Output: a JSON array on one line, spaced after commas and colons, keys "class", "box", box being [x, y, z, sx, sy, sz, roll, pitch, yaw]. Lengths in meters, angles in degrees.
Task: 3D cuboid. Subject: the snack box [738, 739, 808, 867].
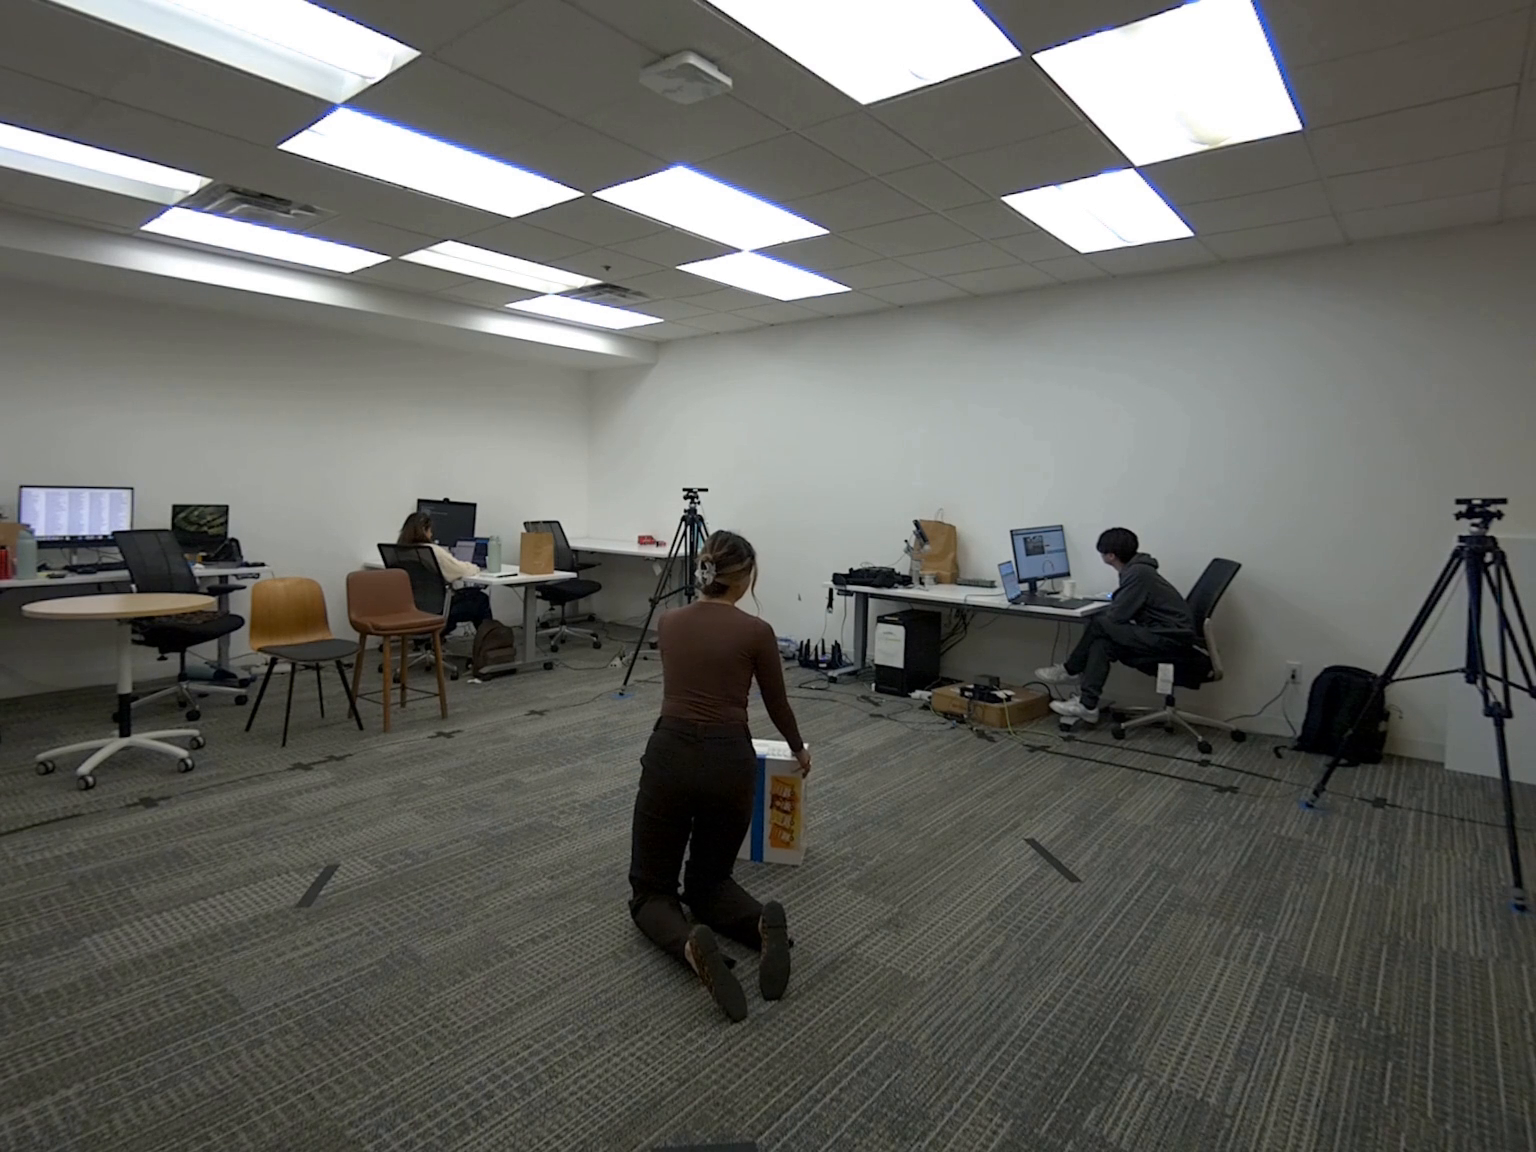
[{"class": "snack box", "box": [-0.033, 0.854, 3.271, 0.345, 0.403, 0.204, 2, 5, 12]}]
